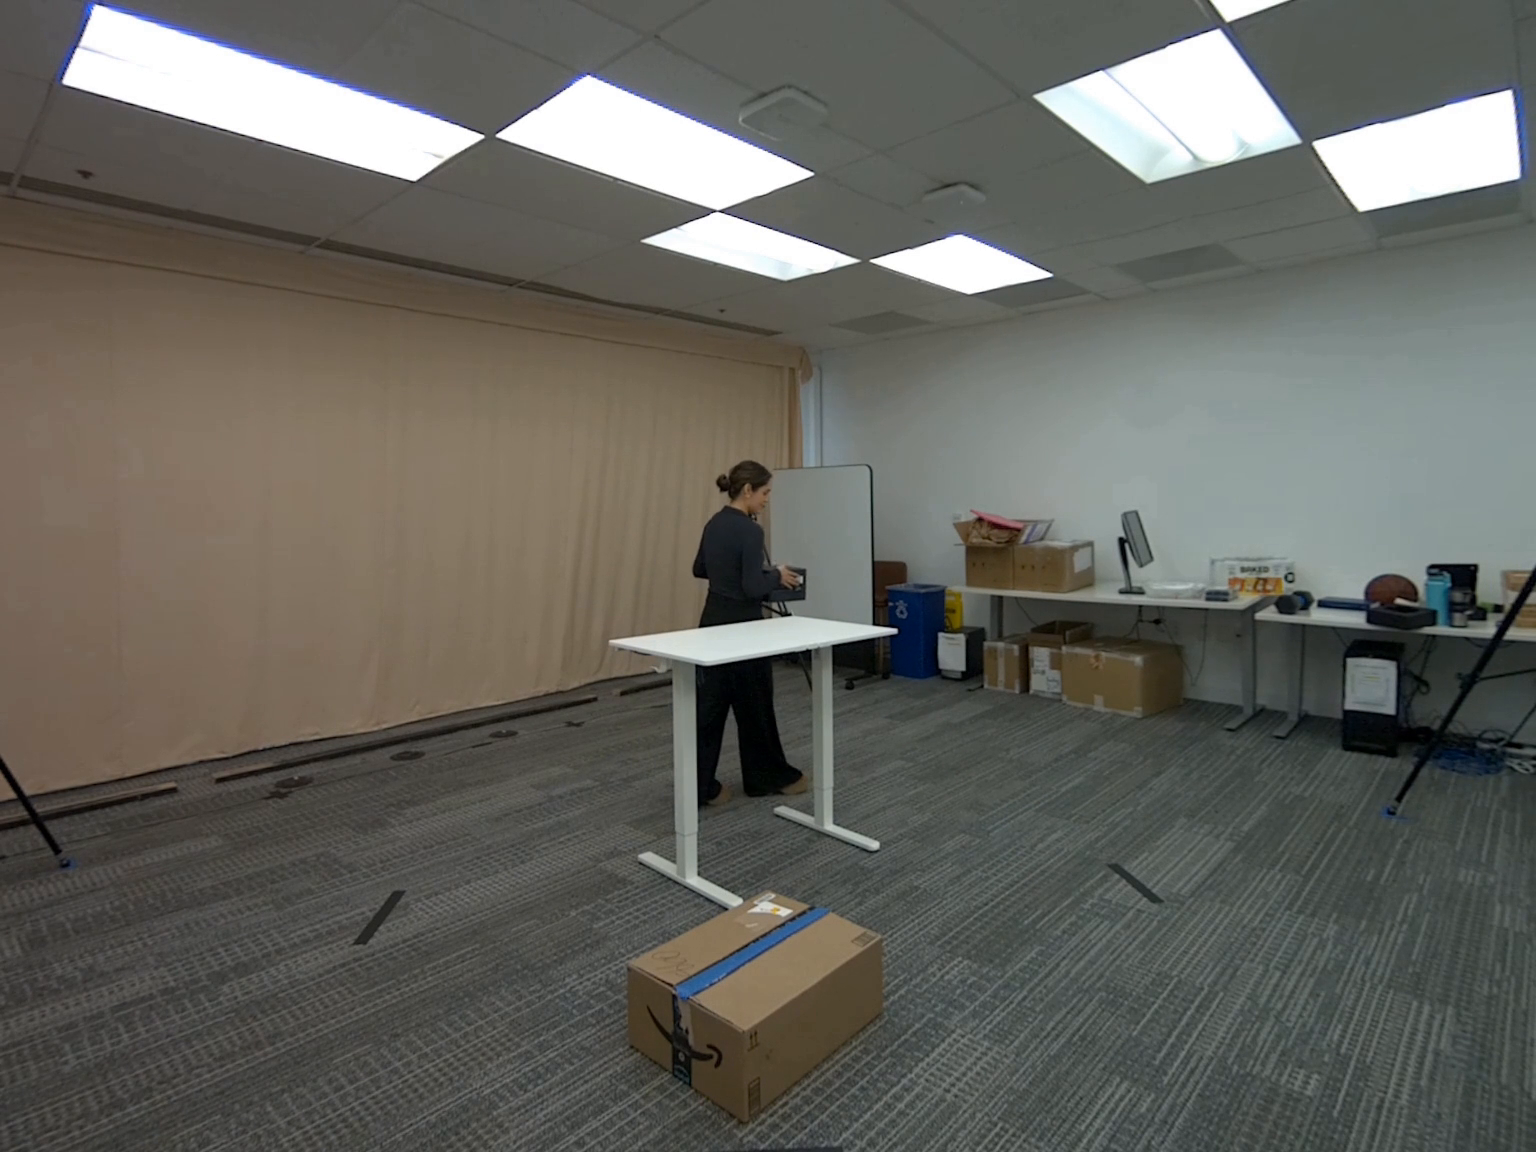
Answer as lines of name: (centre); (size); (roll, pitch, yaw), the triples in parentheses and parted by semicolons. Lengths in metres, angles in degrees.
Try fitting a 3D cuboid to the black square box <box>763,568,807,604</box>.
black square box: (0.037, 0.029, 4.125); (0.211, 0.155, 0.235); (-2, 7, -32)
